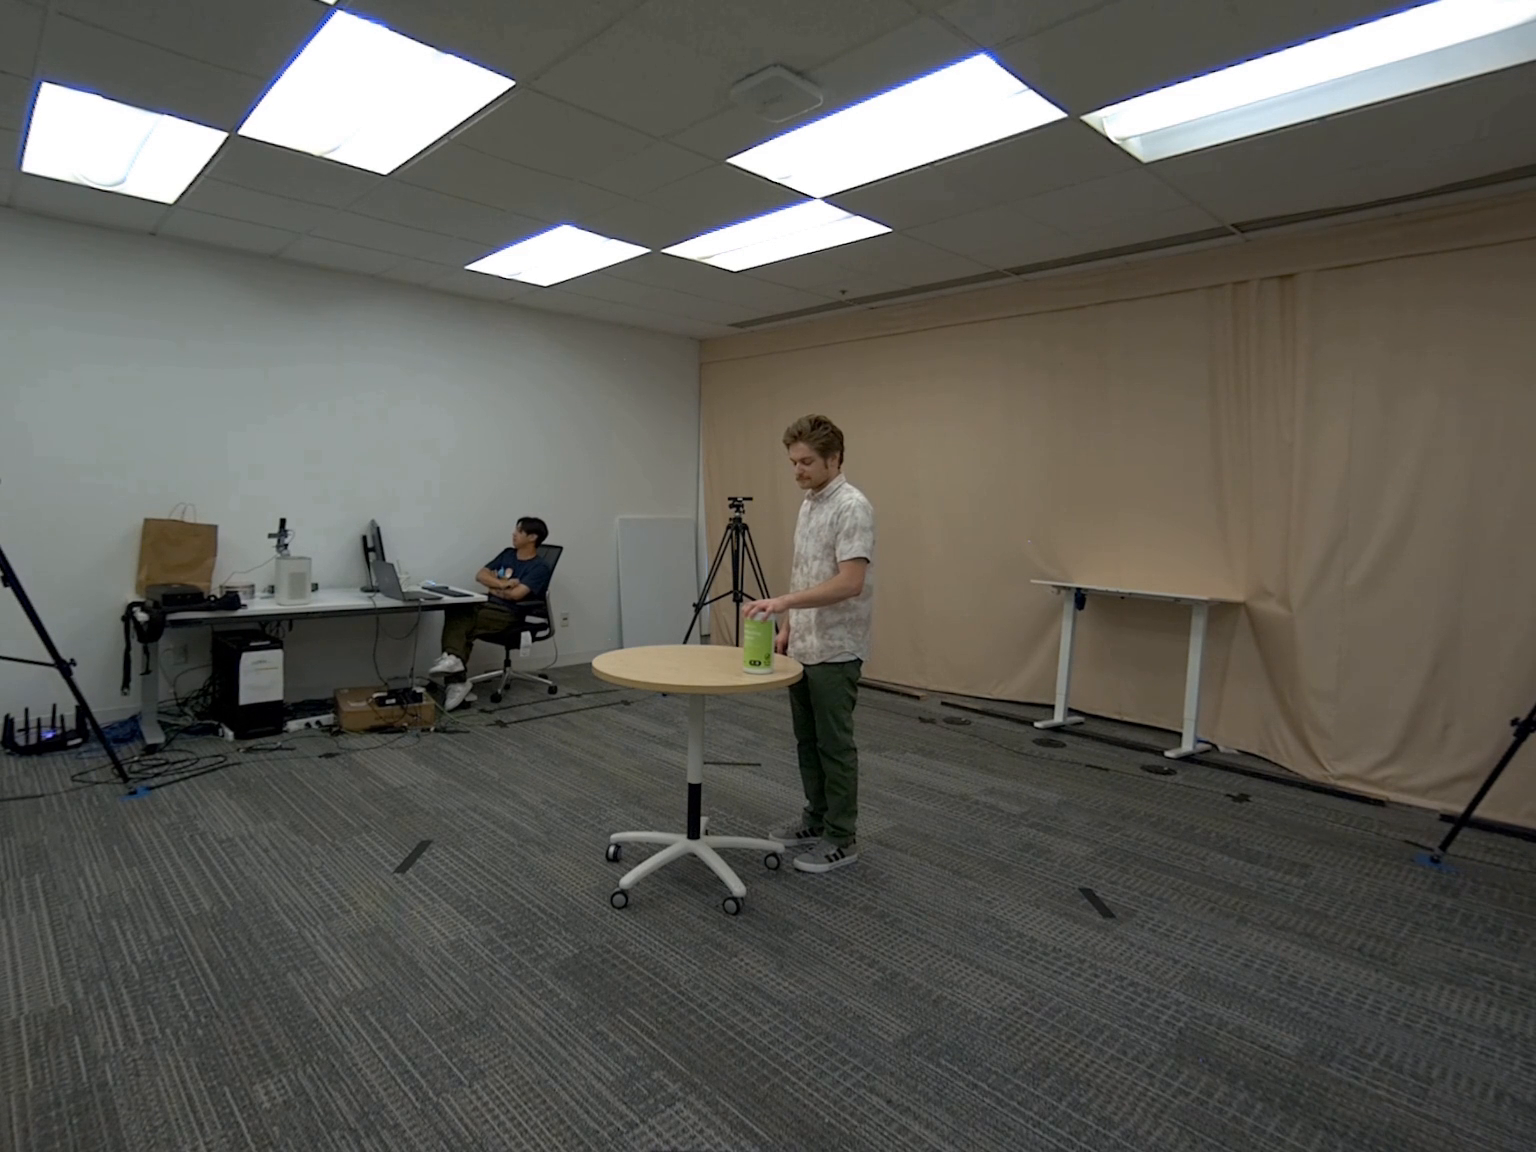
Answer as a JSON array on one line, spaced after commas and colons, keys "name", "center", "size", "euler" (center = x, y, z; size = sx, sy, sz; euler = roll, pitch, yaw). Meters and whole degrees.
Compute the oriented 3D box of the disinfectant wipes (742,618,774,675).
[{"name": "disinfectant wipes", "center": [-0.036, 0.230, 2.938], "size": [0.118, 0.217, 0.118], "euler": [1, 5, -1]}]
